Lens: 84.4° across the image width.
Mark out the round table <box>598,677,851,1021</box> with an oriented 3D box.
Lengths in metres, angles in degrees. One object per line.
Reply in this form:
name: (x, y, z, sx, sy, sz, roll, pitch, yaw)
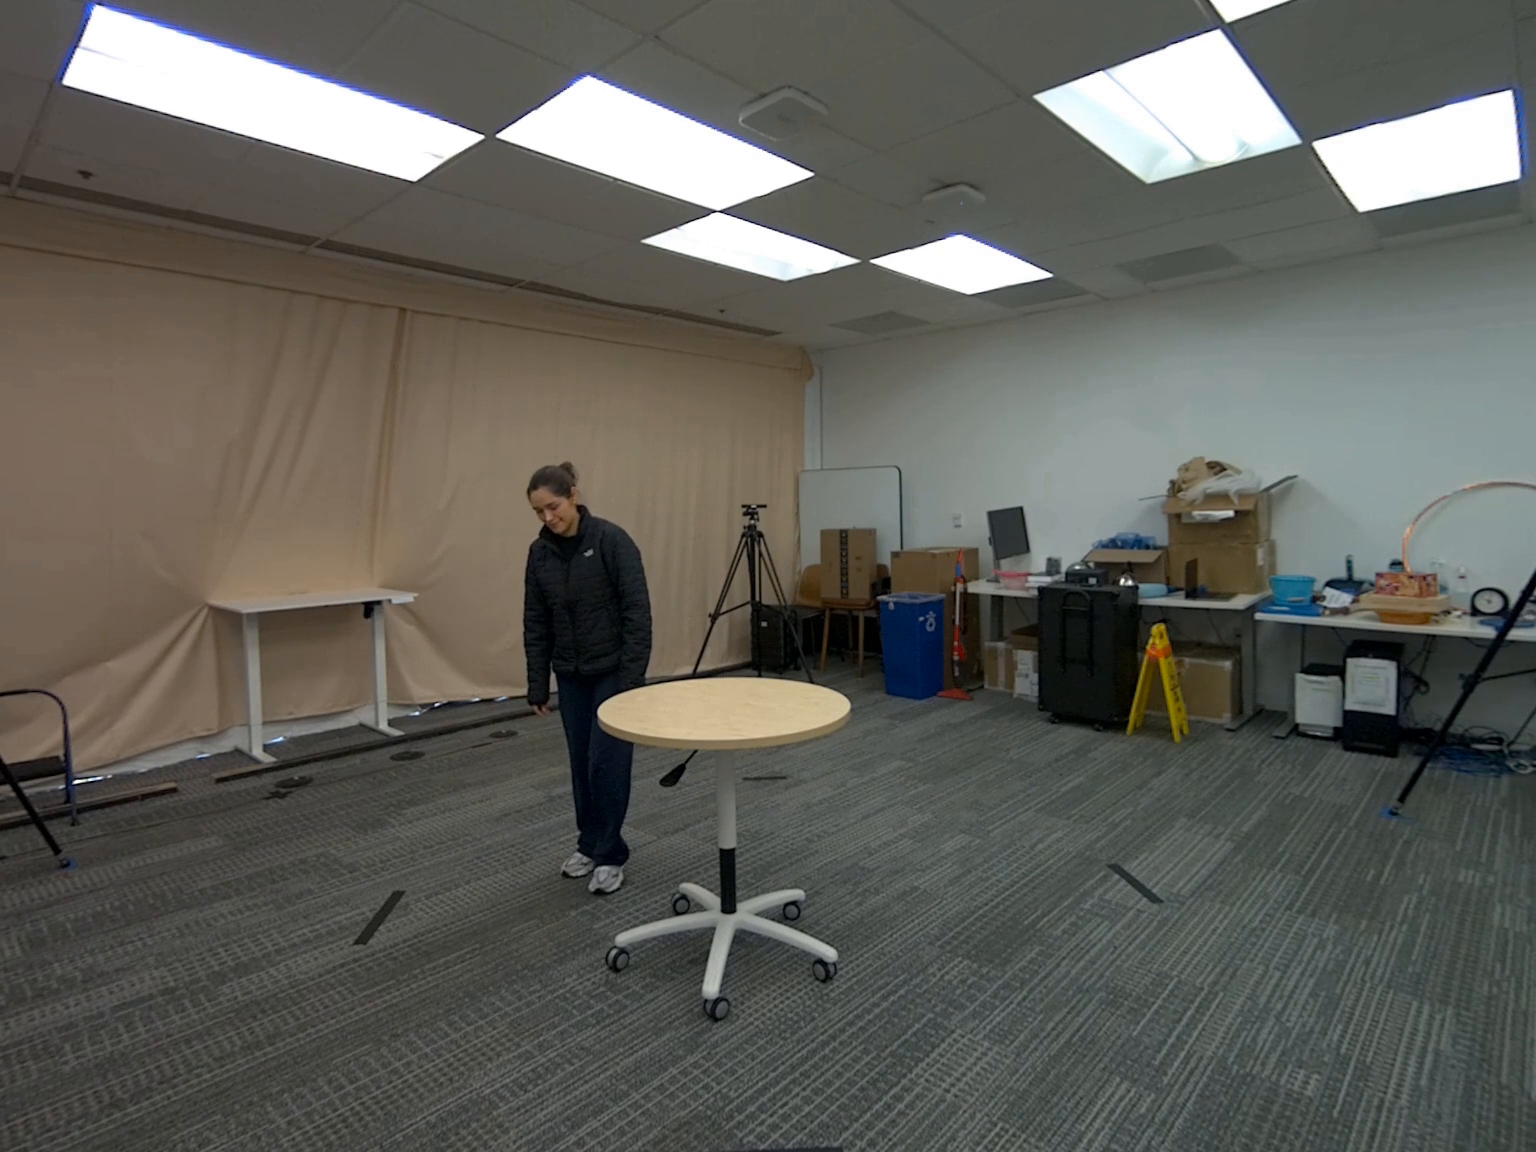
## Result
round table: (-0.095, 0.780, 2.595, 0.784, 0.784, 0.788, -2, 4, -2)
